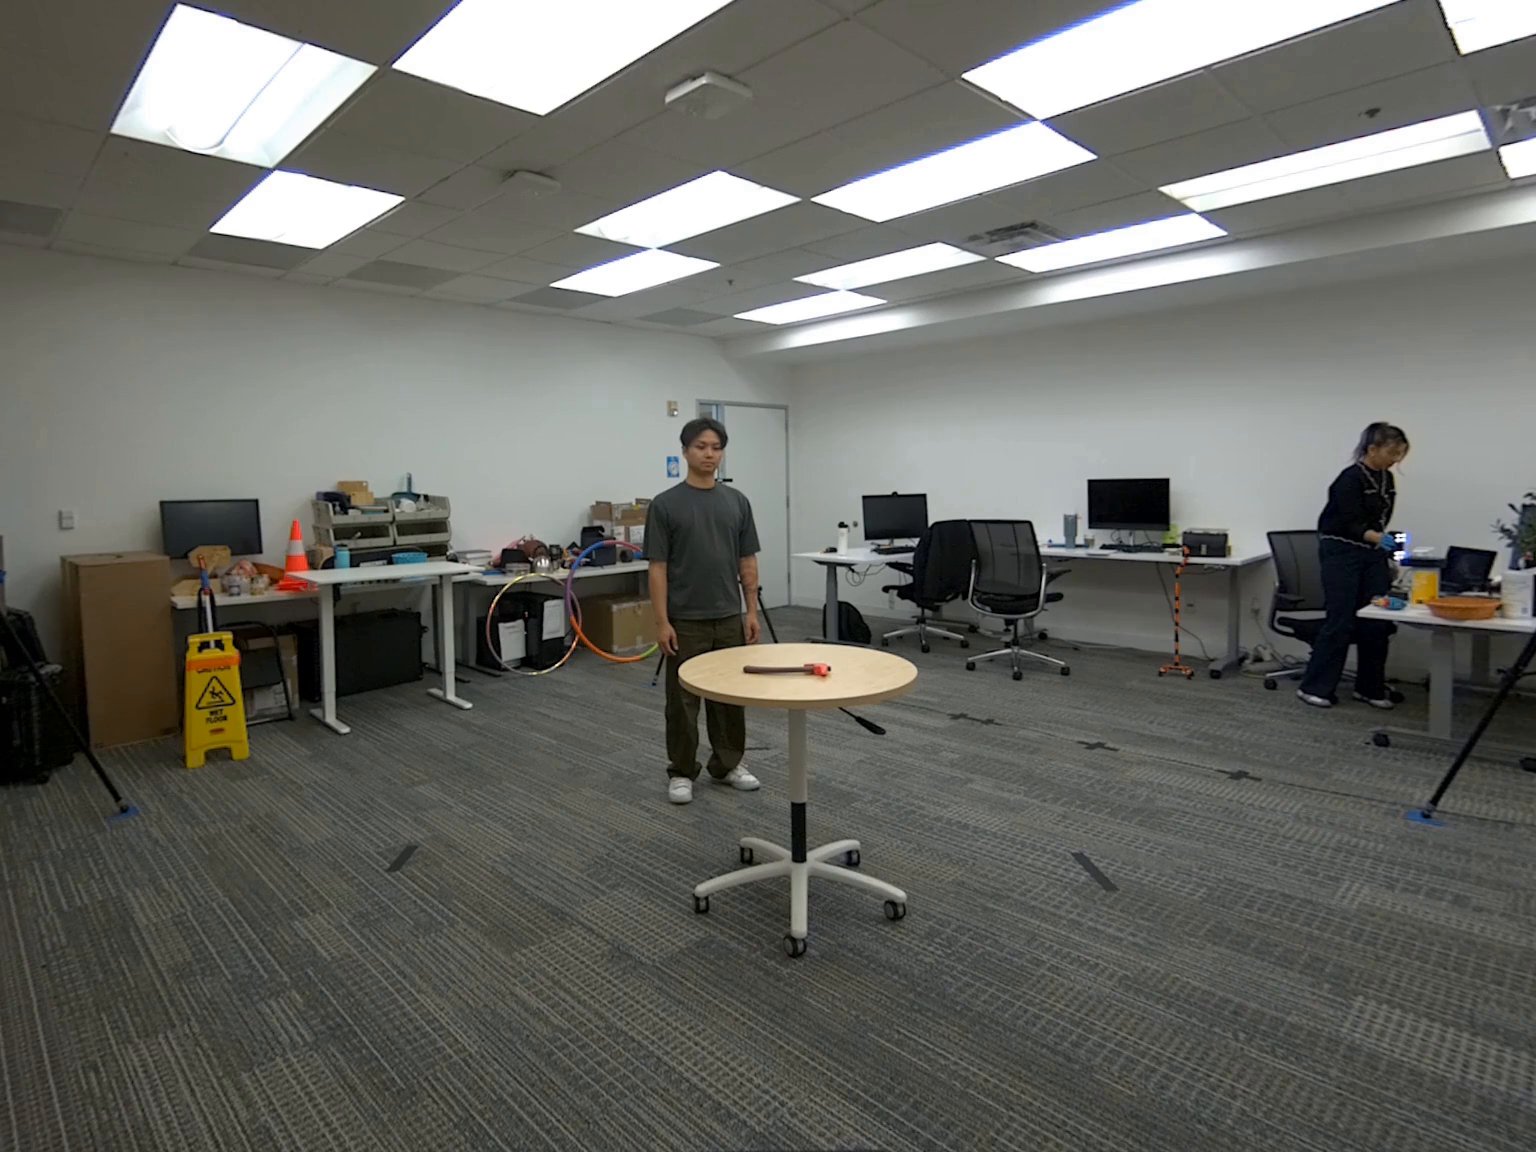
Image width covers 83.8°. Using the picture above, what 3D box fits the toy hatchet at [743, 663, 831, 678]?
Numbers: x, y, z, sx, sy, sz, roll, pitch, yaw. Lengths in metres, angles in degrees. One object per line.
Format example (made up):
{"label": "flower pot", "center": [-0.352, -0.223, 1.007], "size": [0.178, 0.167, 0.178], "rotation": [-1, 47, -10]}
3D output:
{"label": "toy hatchet", "center": [0.070, 0.292, 2.715], "size": [0.275, 0.029, 0.129], "rotation": [0, 6, 20]}
